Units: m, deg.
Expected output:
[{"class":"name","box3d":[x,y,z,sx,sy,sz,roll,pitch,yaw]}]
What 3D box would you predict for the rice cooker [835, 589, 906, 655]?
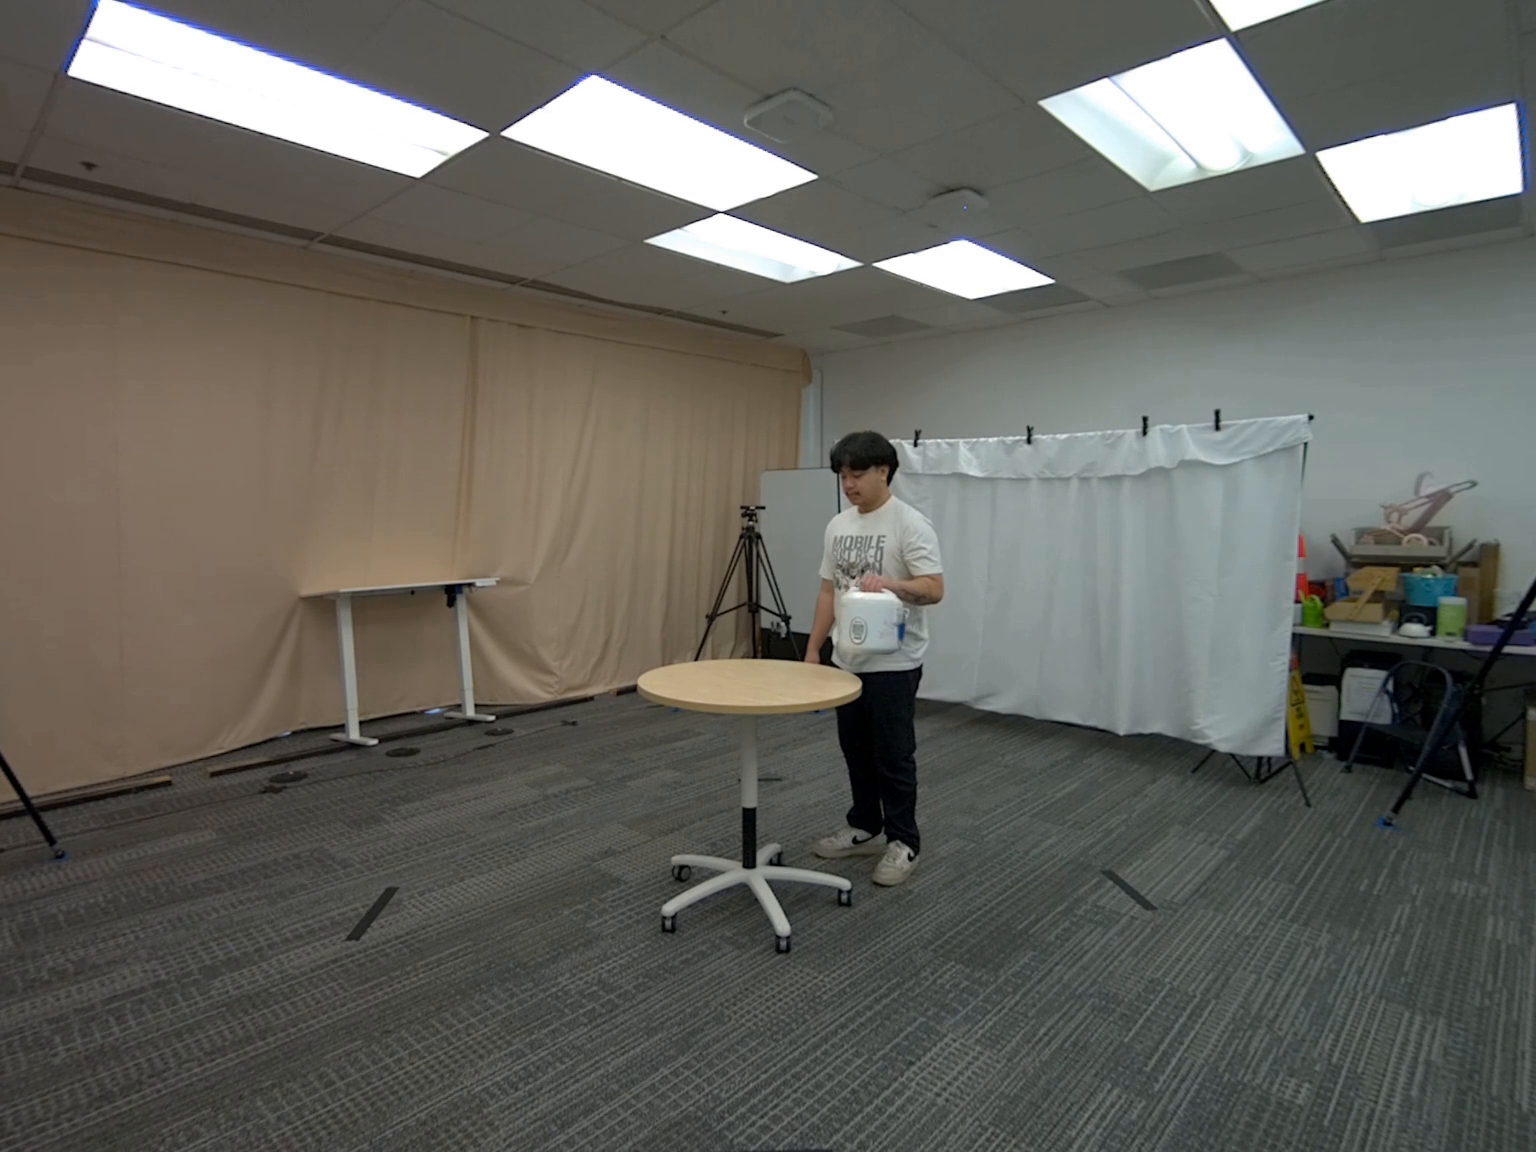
[{"class":"rice cooker","box3d":[0.345,0.149,2.882,0.227,0.233,0.211,1,-3,29]}]
